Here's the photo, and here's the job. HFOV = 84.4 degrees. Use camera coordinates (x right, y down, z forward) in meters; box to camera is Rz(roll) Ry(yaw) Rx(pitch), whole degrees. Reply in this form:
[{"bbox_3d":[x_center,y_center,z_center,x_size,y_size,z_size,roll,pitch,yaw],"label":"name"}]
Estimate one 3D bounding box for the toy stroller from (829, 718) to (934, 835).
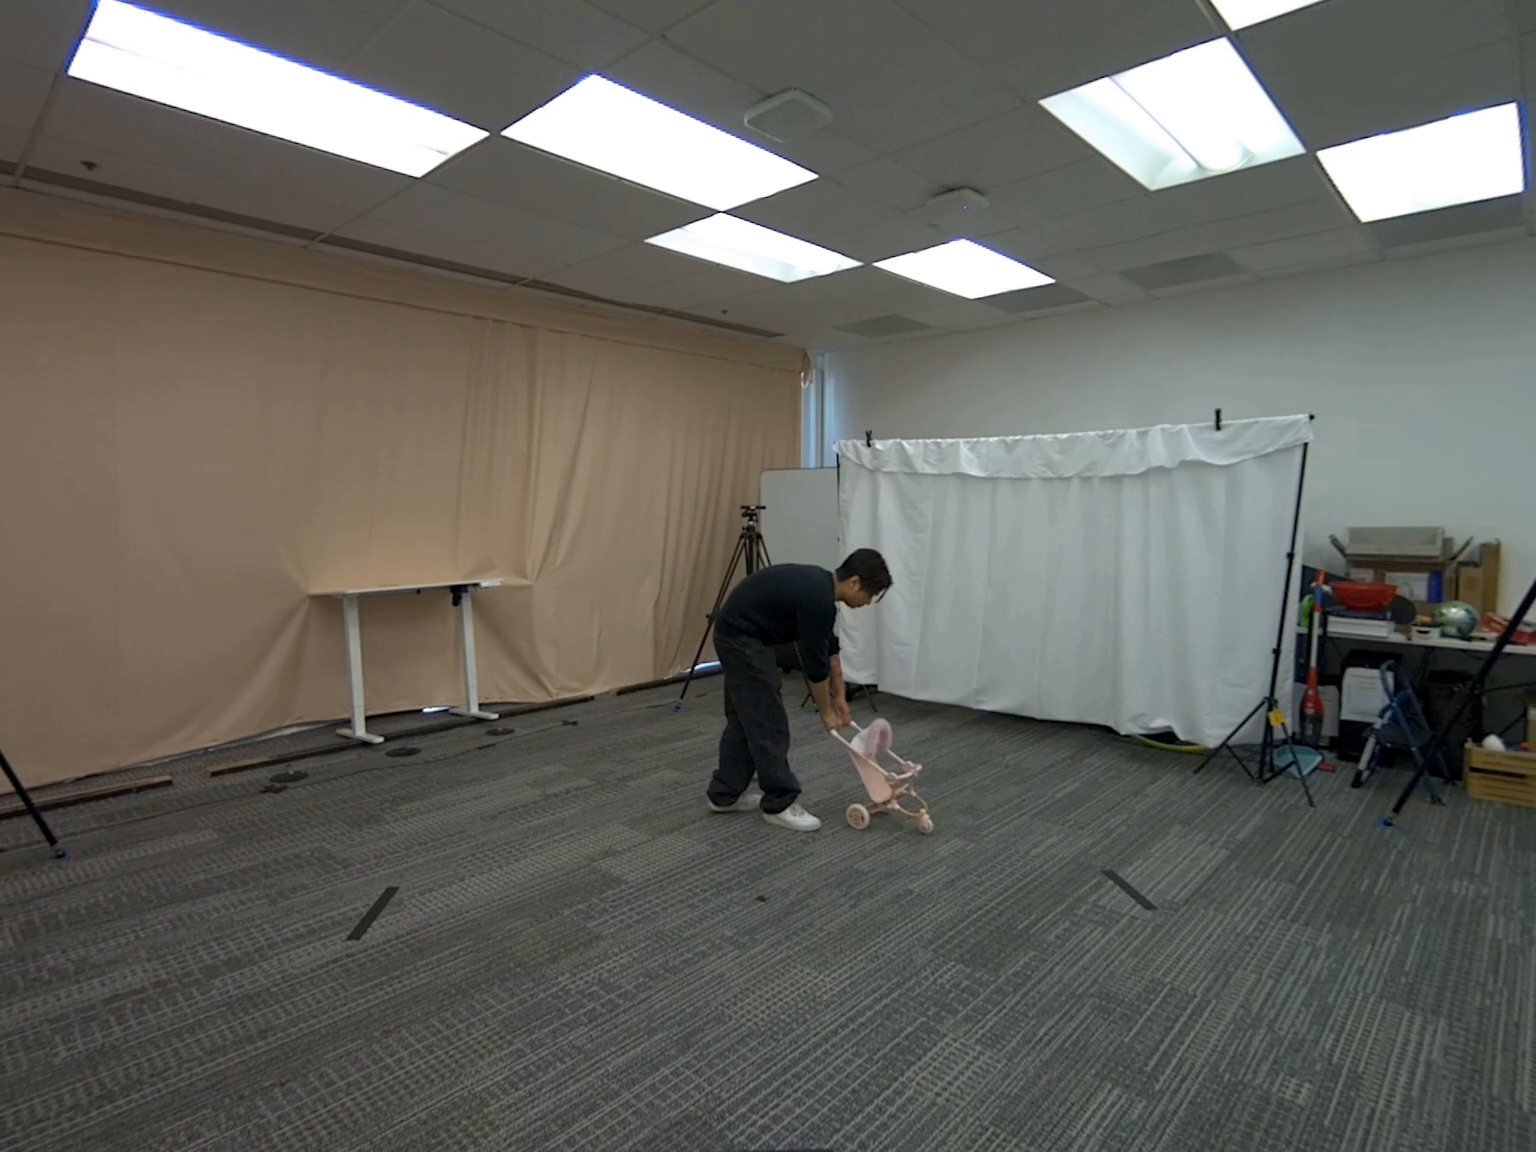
[{"bbox_3d":[0.505,0.864,3.678,0.349,0.538,0.273,-19,-9,37],"label":"toy stroller"}]
